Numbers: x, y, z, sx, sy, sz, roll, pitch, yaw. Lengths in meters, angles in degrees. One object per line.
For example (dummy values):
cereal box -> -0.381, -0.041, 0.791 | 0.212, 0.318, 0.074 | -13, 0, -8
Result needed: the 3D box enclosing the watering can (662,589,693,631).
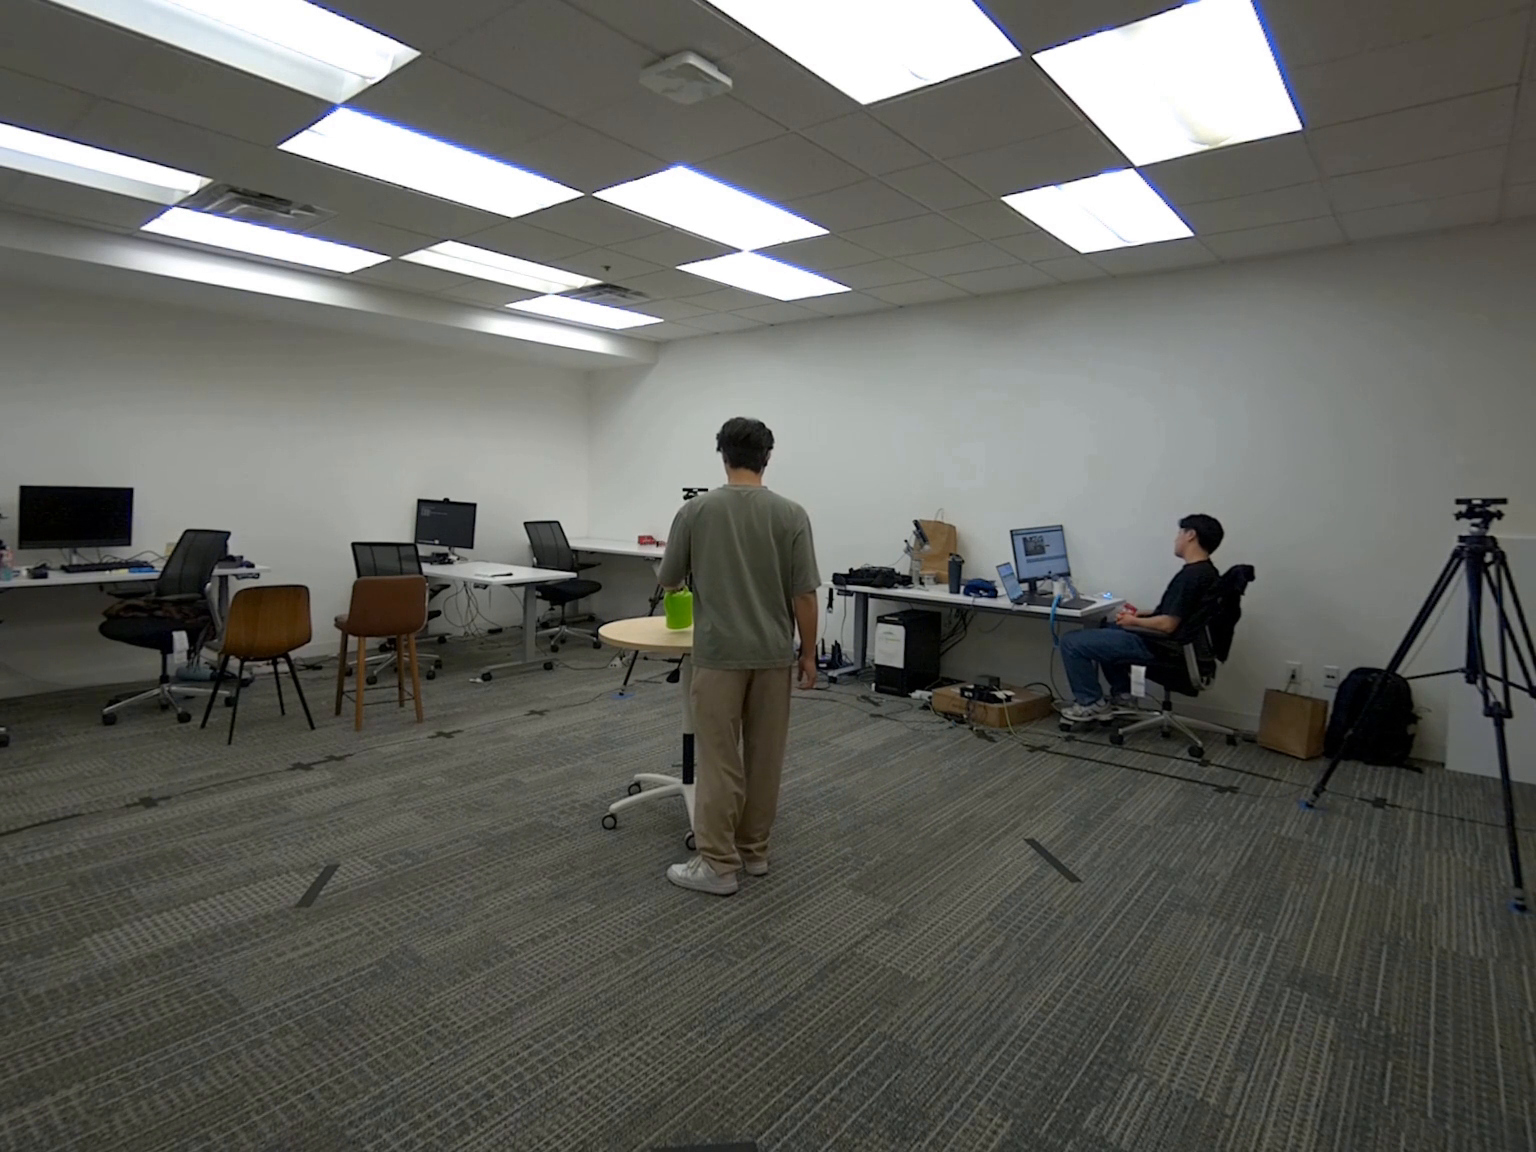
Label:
watering can -> -0.346, 0.114, 3.532 | 0.271, 0.175, 0.101 | -10, 13, -43
